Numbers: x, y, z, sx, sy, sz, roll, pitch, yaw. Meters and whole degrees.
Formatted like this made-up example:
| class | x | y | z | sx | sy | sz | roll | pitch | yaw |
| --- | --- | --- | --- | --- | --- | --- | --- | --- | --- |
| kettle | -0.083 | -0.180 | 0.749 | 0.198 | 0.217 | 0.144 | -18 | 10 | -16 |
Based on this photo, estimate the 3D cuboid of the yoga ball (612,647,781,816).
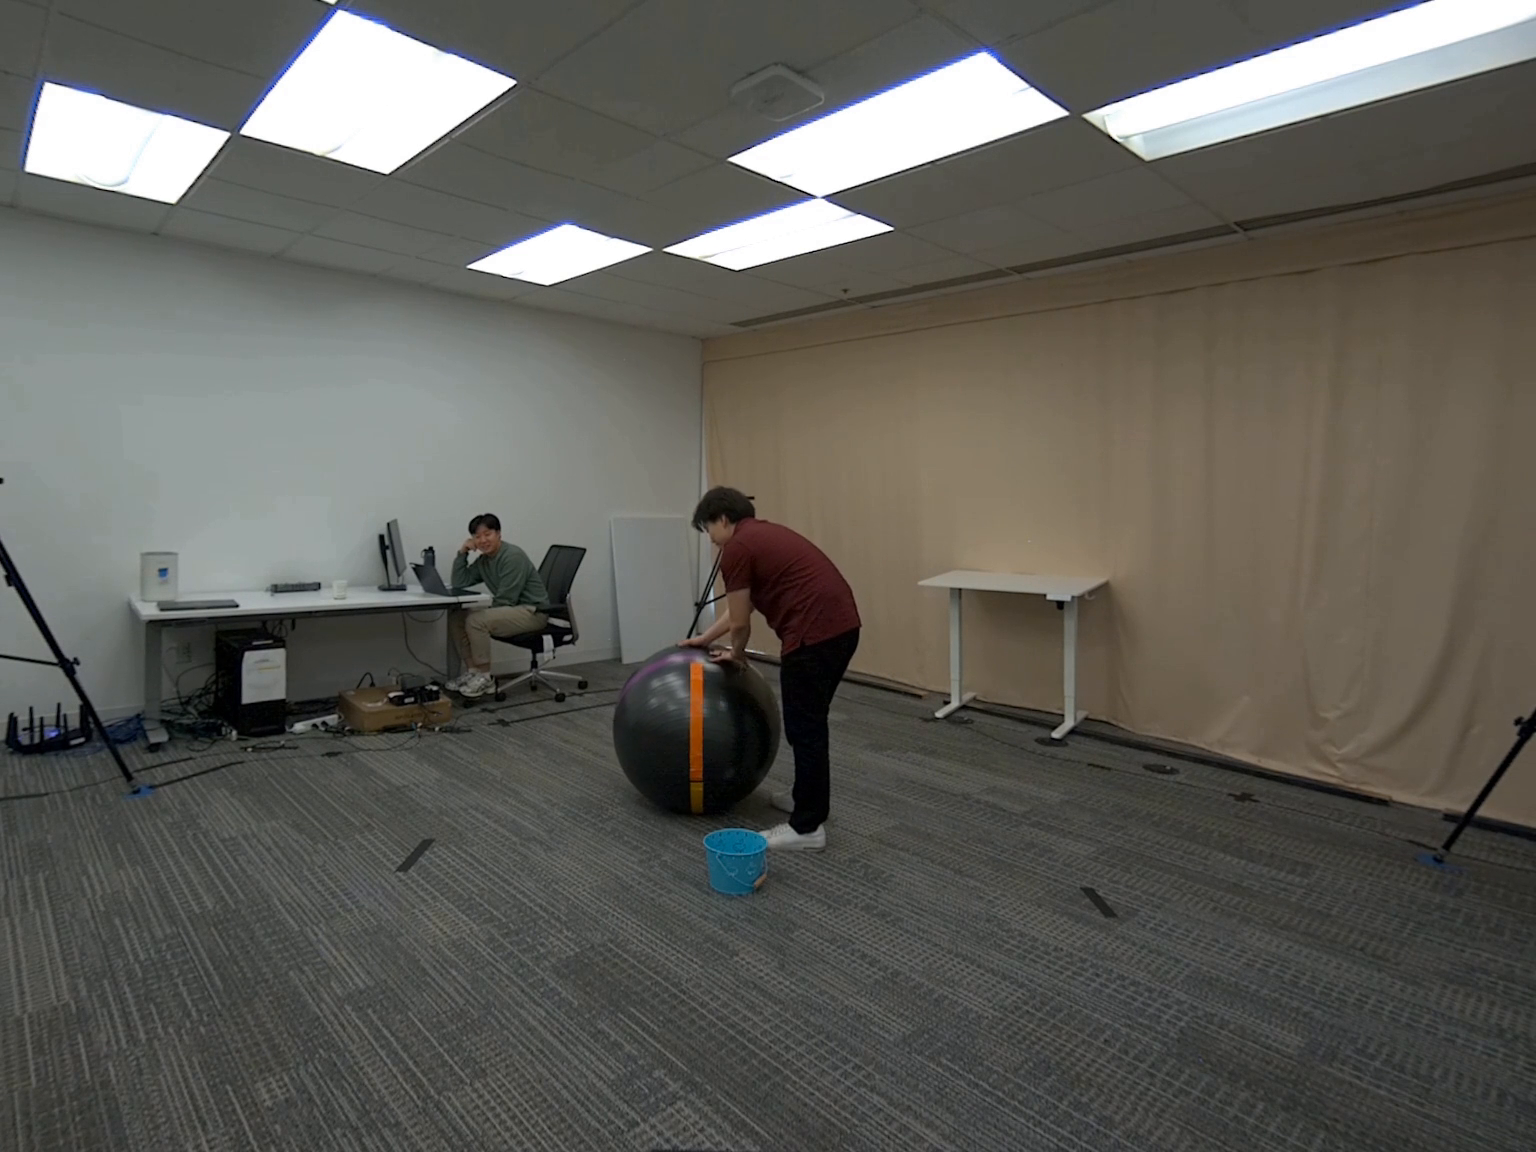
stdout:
| class | x | y | z | sx | sy | sz | roll | pitch | yaw |
| --- | --- | --- | --- | --- | --- | --- | --- | --- | --- |
| yoga ball | -0.331 | 0.692 | 3.820 | 0.757 | 0.756 | 0.761 | 1 | 4 | -1 |
